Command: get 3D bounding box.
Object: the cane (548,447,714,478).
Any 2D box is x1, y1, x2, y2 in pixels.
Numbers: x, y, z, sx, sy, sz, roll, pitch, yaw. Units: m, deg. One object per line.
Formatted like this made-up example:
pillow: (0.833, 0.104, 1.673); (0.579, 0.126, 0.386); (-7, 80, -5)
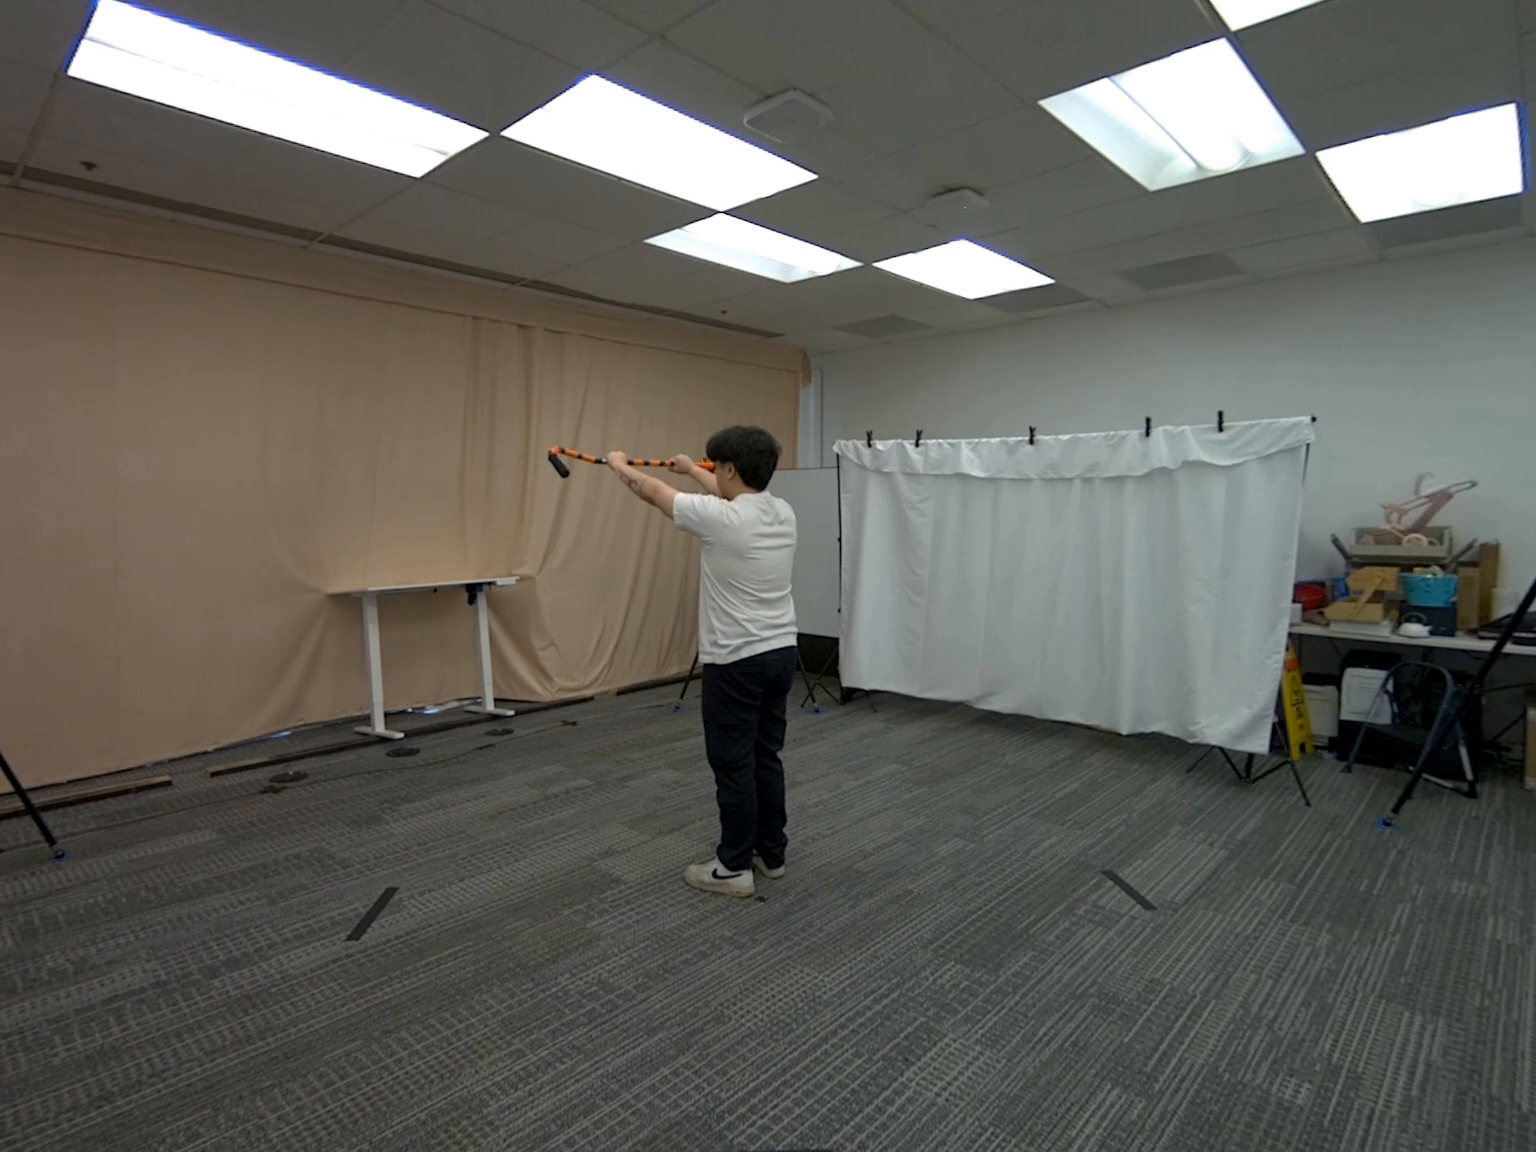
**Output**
cane: (-0.490, -0.465, 3.387); (0.881, 0.152, 0.212); (-7, 47, -48)
